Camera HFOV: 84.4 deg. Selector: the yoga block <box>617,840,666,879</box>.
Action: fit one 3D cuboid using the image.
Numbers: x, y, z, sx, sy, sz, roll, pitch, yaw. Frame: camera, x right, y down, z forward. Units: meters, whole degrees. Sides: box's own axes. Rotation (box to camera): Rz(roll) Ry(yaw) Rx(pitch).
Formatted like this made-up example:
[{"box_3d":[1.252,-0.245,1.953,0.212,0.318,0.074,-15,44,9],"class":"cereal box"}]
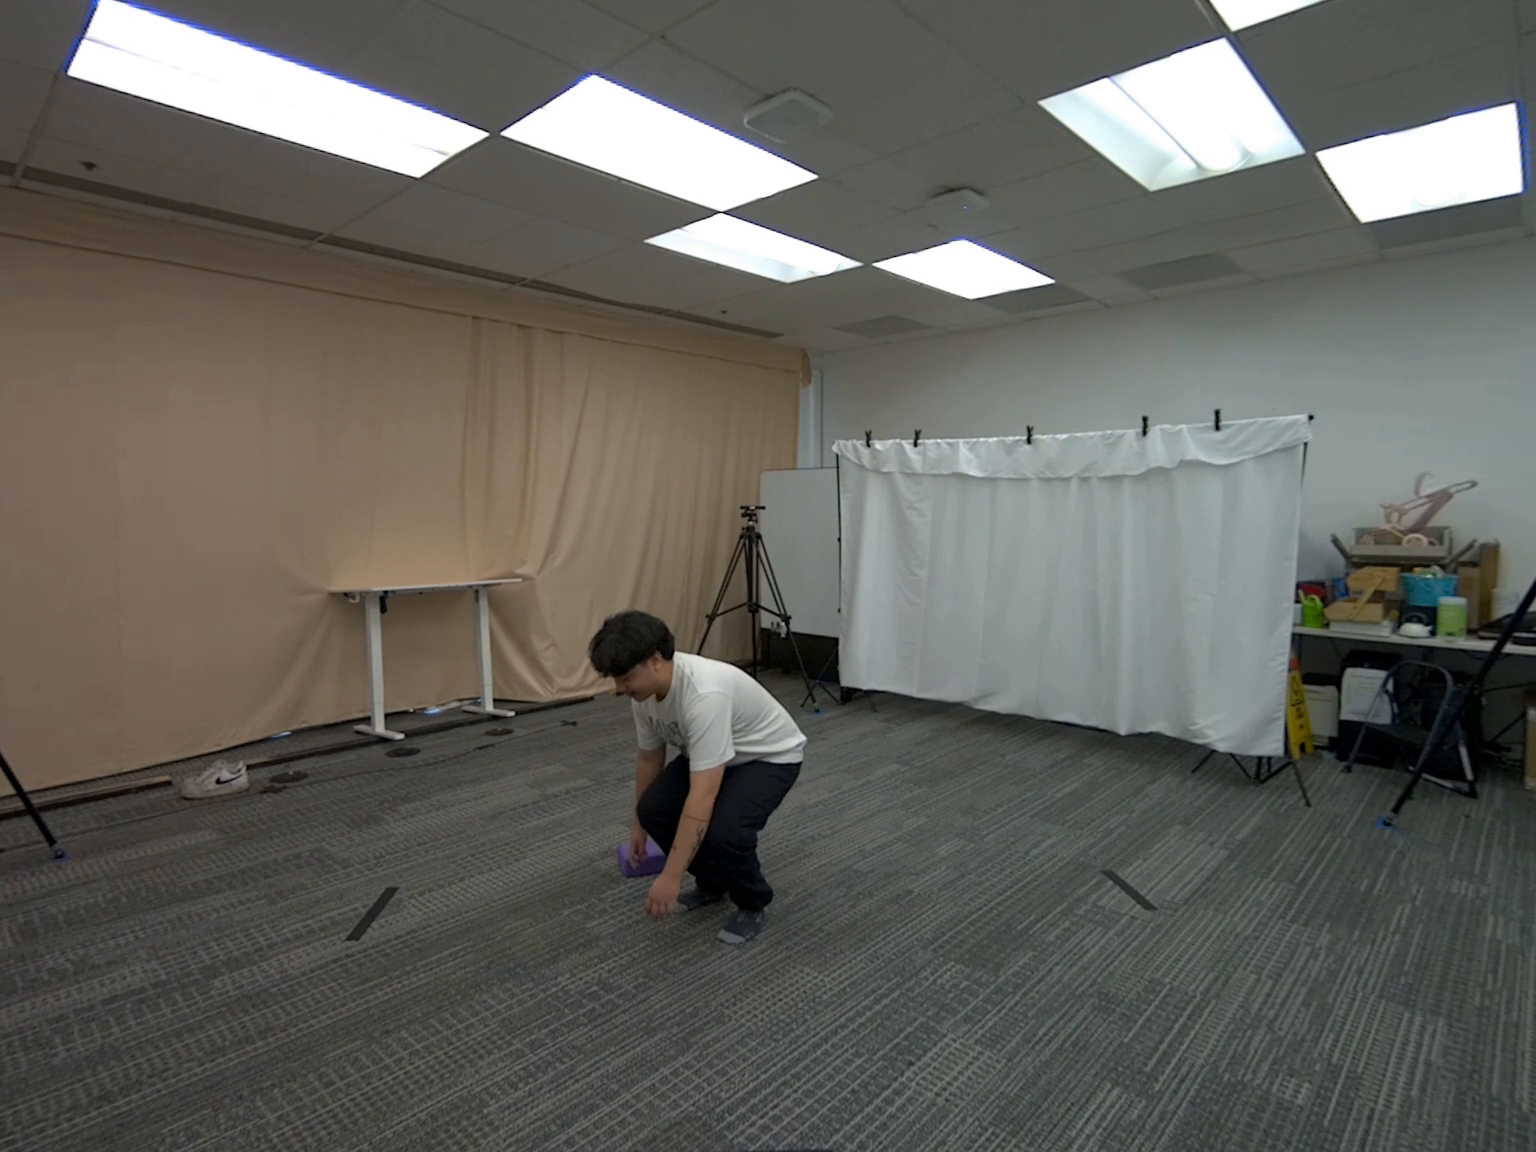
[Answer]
[{"box_3d":[-0.456,1.088,3.254,0.225,0.076,0.152,-2,3,-20],"class":"yoga block"}]
